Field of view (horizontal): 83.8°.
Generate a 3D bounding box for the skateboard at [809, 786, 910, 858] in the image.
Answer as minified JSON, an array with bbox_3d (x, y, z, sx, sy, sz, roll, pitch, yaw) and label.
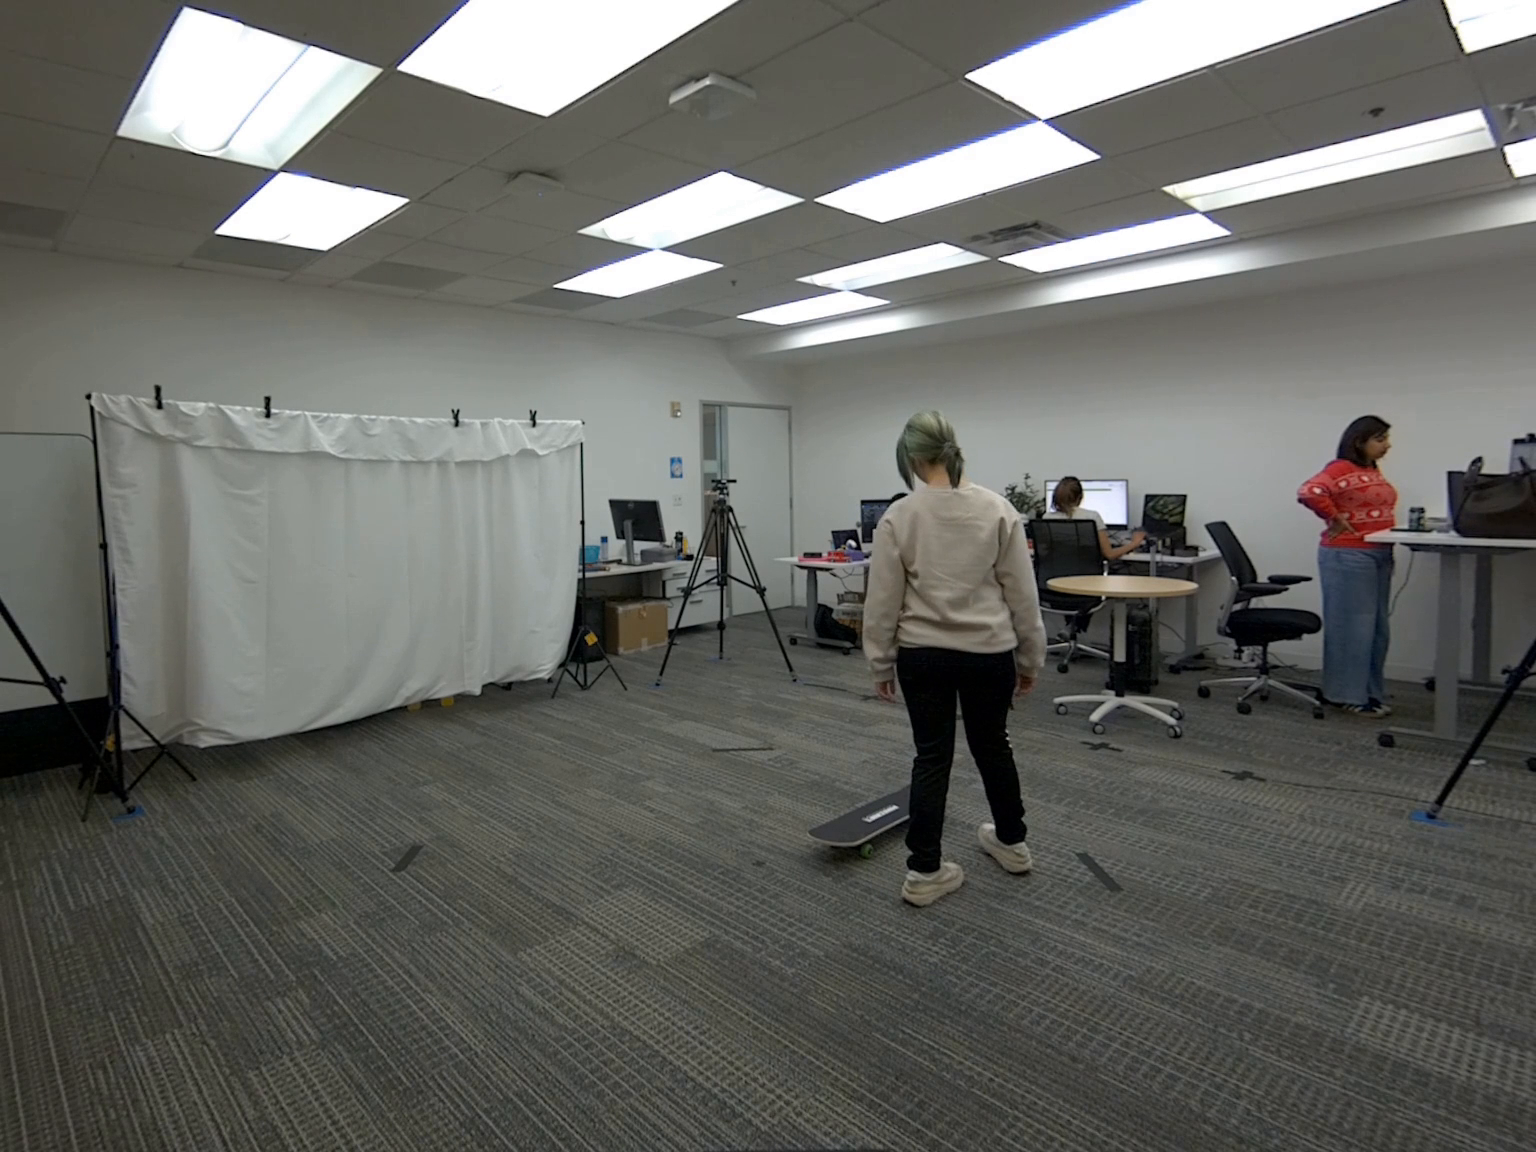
[{"bbox_3d":[0.438,0.954,3.336,0.199,0.110,0.765,3,7,44],"label":"skateboard"}]
